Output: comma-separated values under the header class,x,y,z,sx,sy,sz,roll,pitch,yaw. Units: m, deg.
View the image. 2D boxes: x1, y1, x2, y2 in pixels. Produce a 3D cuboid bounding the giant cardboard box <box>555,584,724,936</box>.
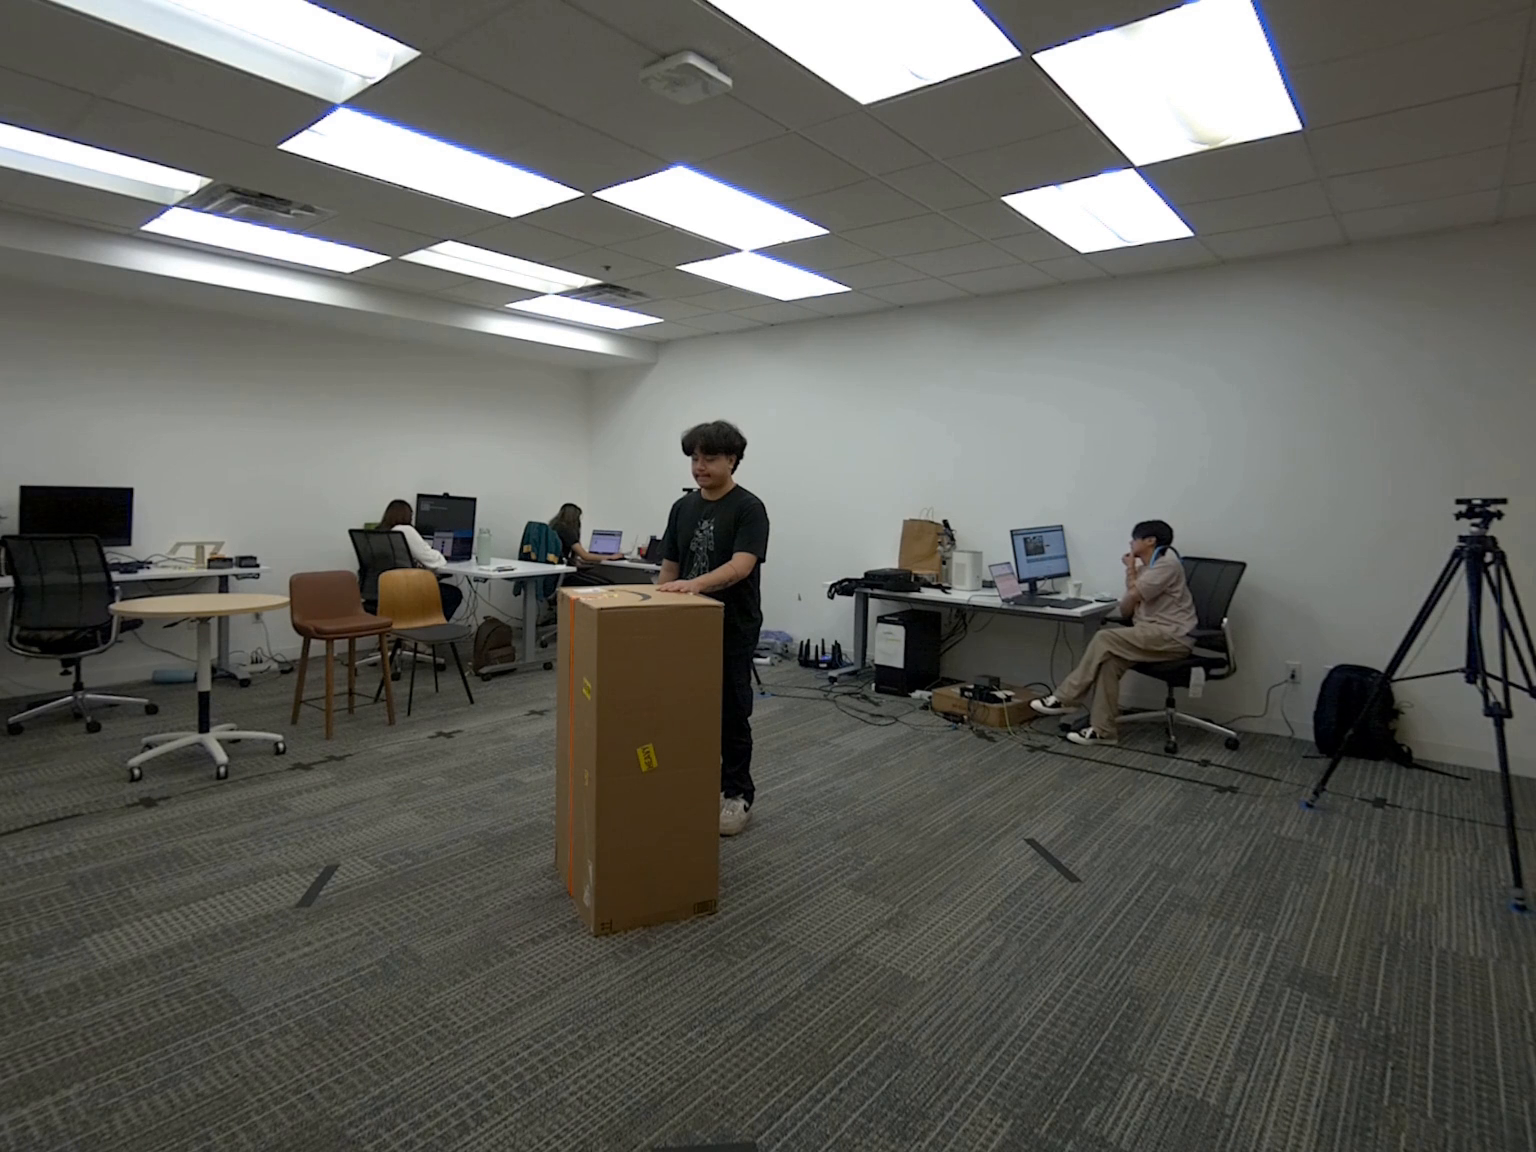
class,x,y,z,sx,sy,sz,roll,pitch,yaw
giant cardboard box,-0.478,0.570,2.939,0.436,1.024,0.599,-1,4,-25
